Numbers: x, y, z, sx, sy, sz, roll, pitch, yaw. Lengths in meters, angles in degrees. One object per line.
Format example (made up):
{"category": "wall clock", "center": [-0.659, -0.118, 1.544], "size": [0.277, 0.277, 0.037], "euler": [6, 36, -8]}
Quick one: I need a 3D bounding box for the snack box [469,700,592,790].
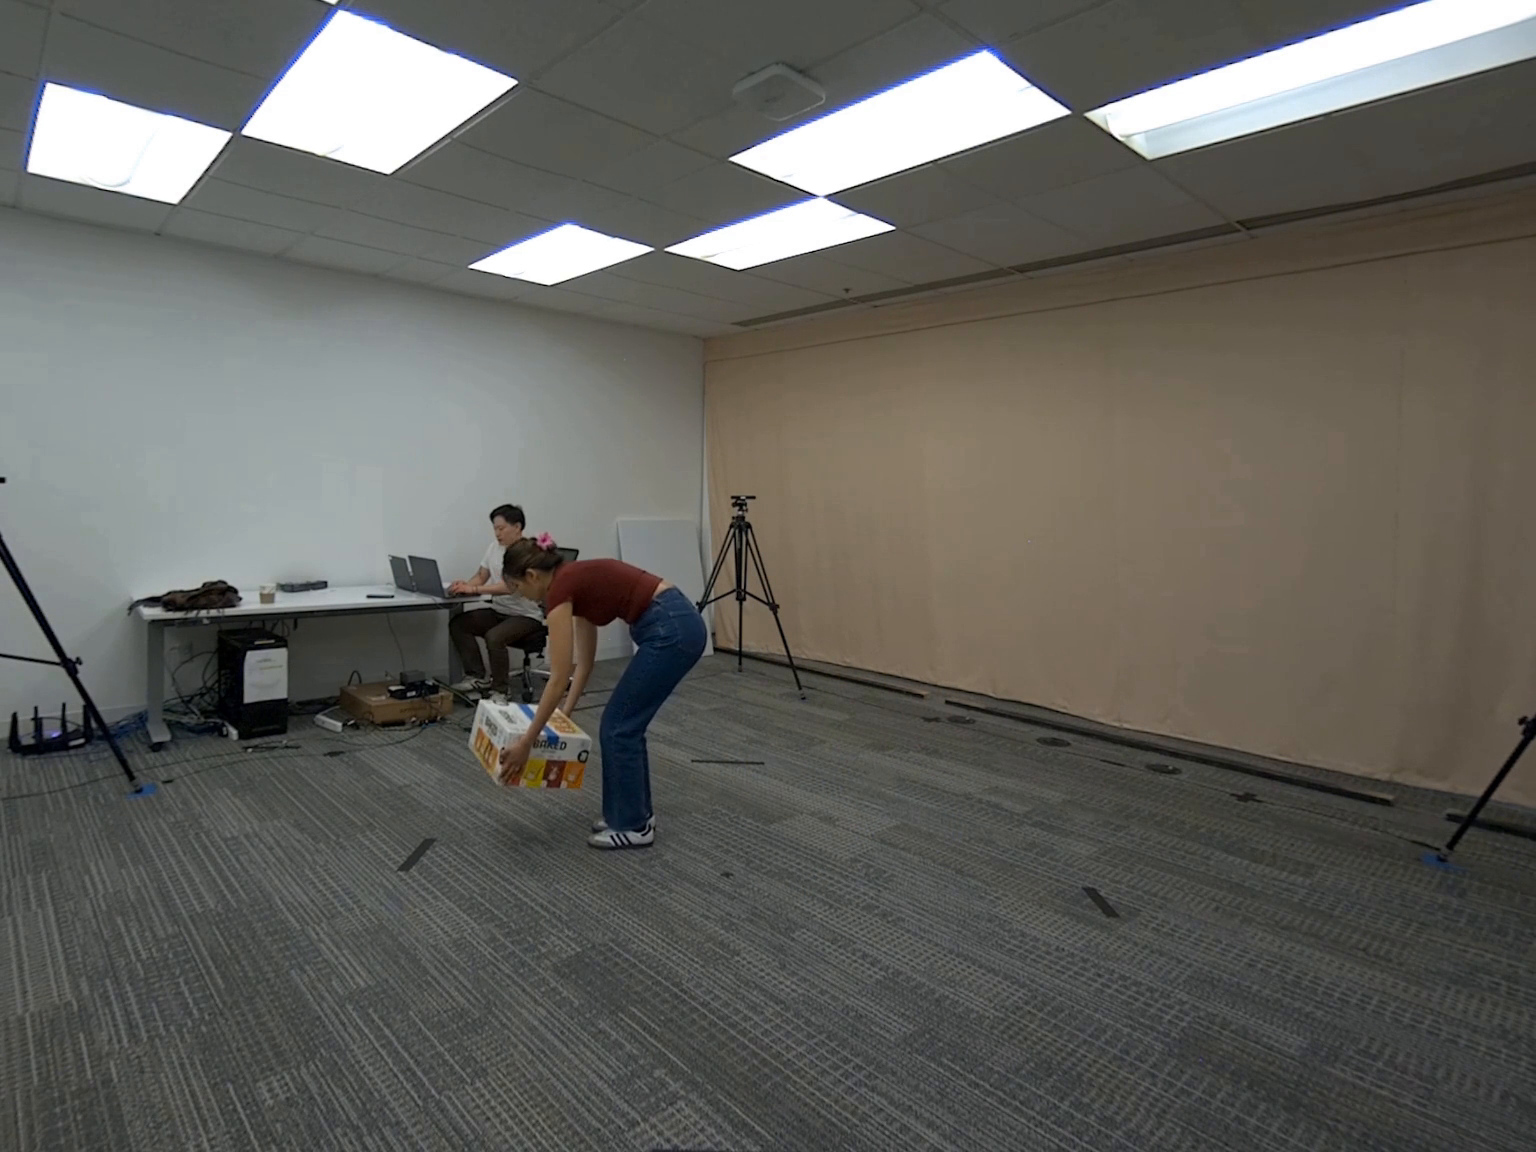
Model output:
{"category": "snack box", "center": [-0.968, 0.658, 3.365], "size": [0.331, 0.205, 0.416], "euler": [14, 2, -35]}
